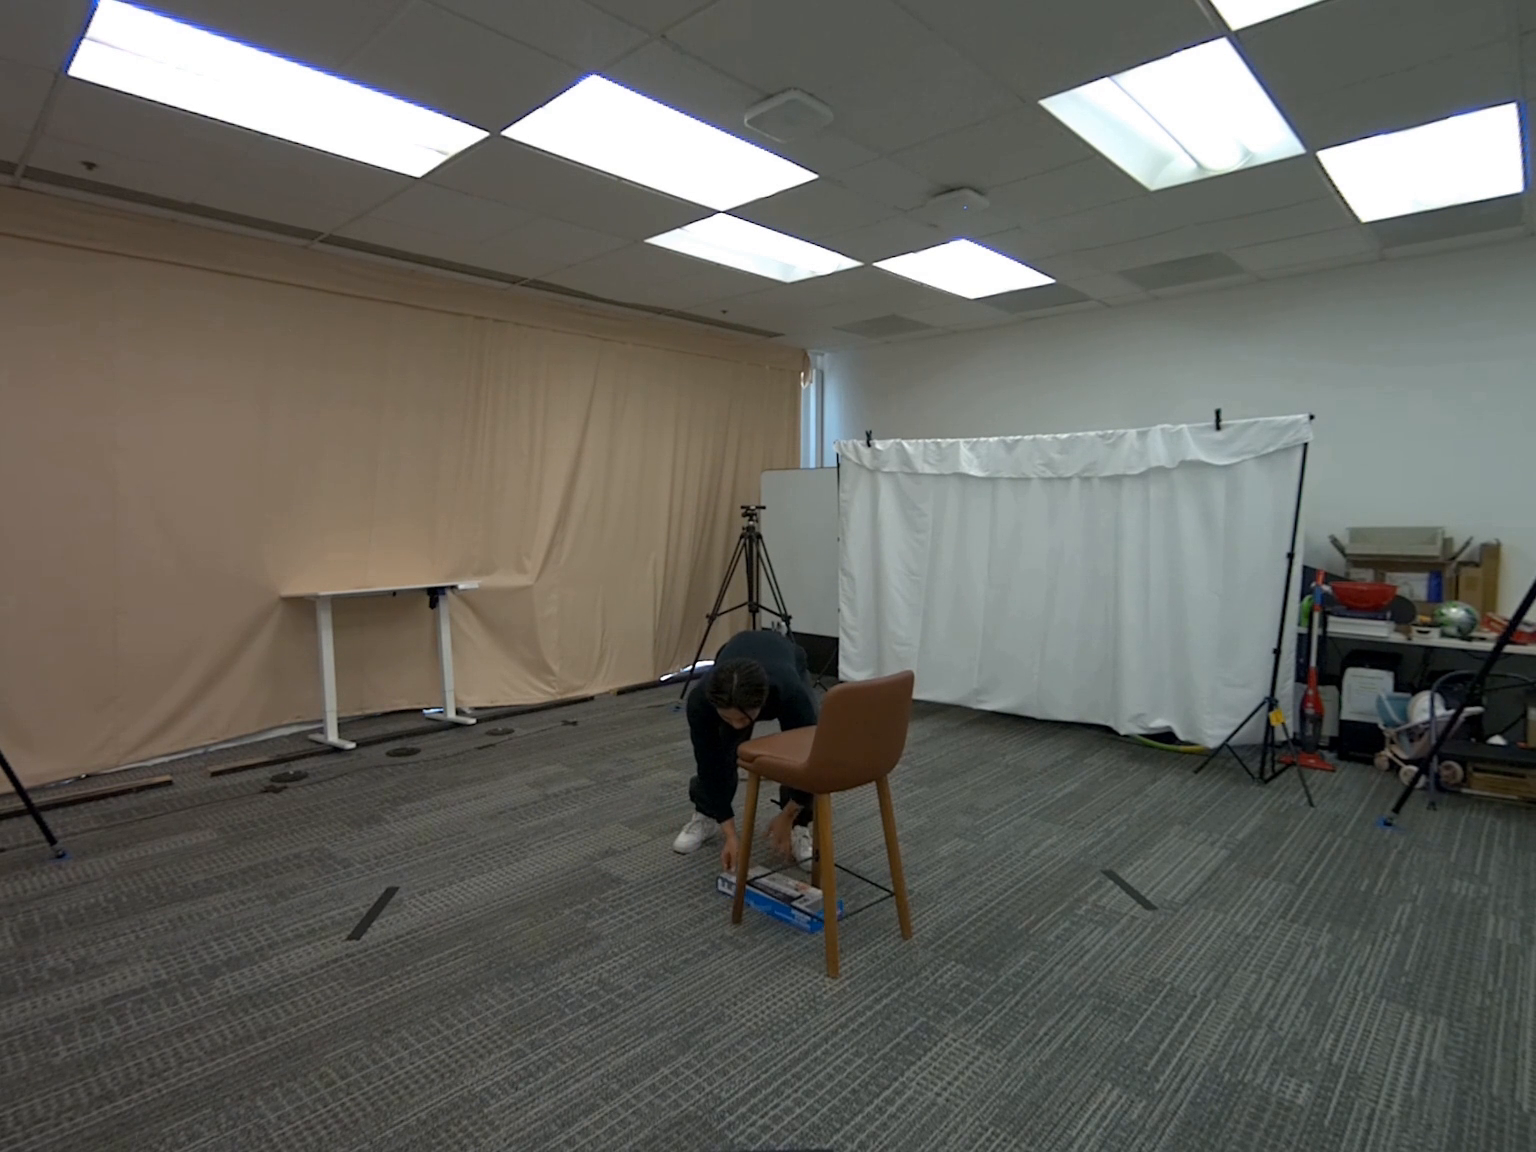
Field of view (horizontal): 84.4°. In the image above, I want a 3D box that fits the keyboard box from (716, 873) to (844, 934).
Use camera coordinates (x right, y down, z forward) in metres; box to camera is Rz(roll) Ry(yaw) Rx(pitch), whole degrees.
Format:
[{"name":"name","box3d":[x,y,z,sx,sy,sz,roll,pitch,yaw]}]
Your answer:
[{"name":"keyboard box","box3d":[0.037,1.115,2.954,0.451,0.059,0.170,5,7,43]}]
